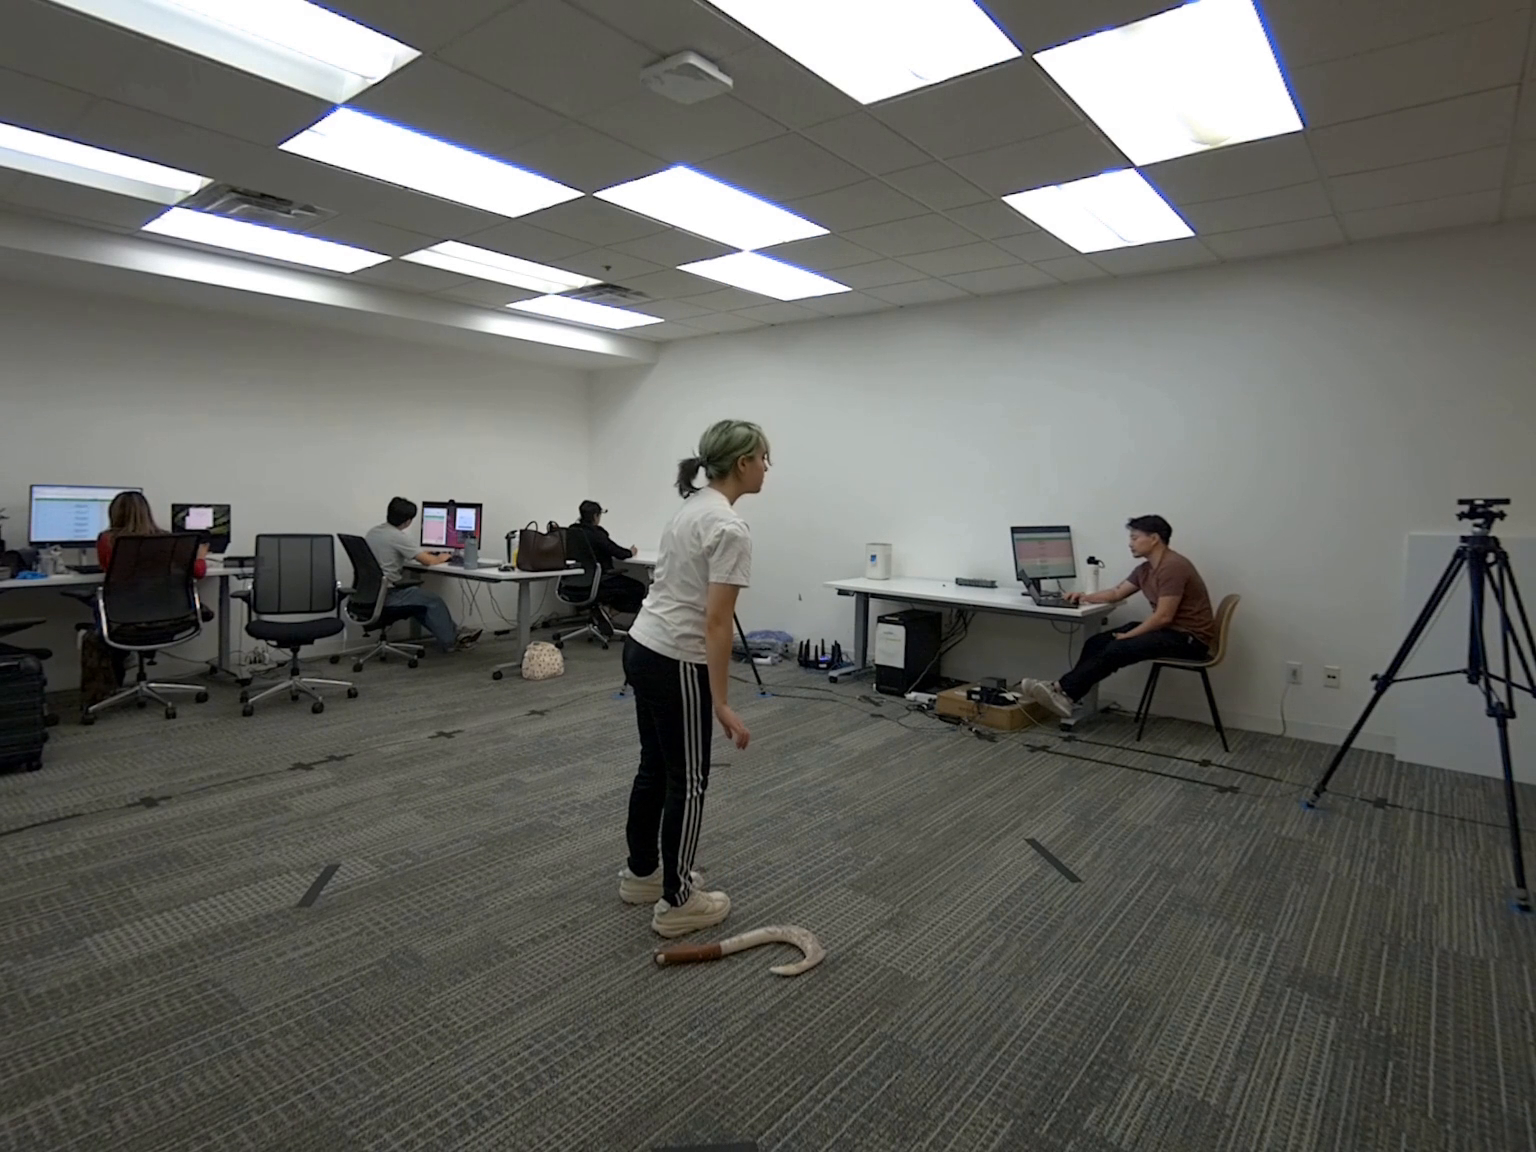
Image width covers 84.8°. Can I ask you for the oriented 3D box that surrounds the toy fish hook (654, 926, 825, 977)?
[{"bbox_3d":[-0.083,1.110,2.494,0.497,0.048,0.229,-1,5,-19],"label":"toy fish hook"}]
